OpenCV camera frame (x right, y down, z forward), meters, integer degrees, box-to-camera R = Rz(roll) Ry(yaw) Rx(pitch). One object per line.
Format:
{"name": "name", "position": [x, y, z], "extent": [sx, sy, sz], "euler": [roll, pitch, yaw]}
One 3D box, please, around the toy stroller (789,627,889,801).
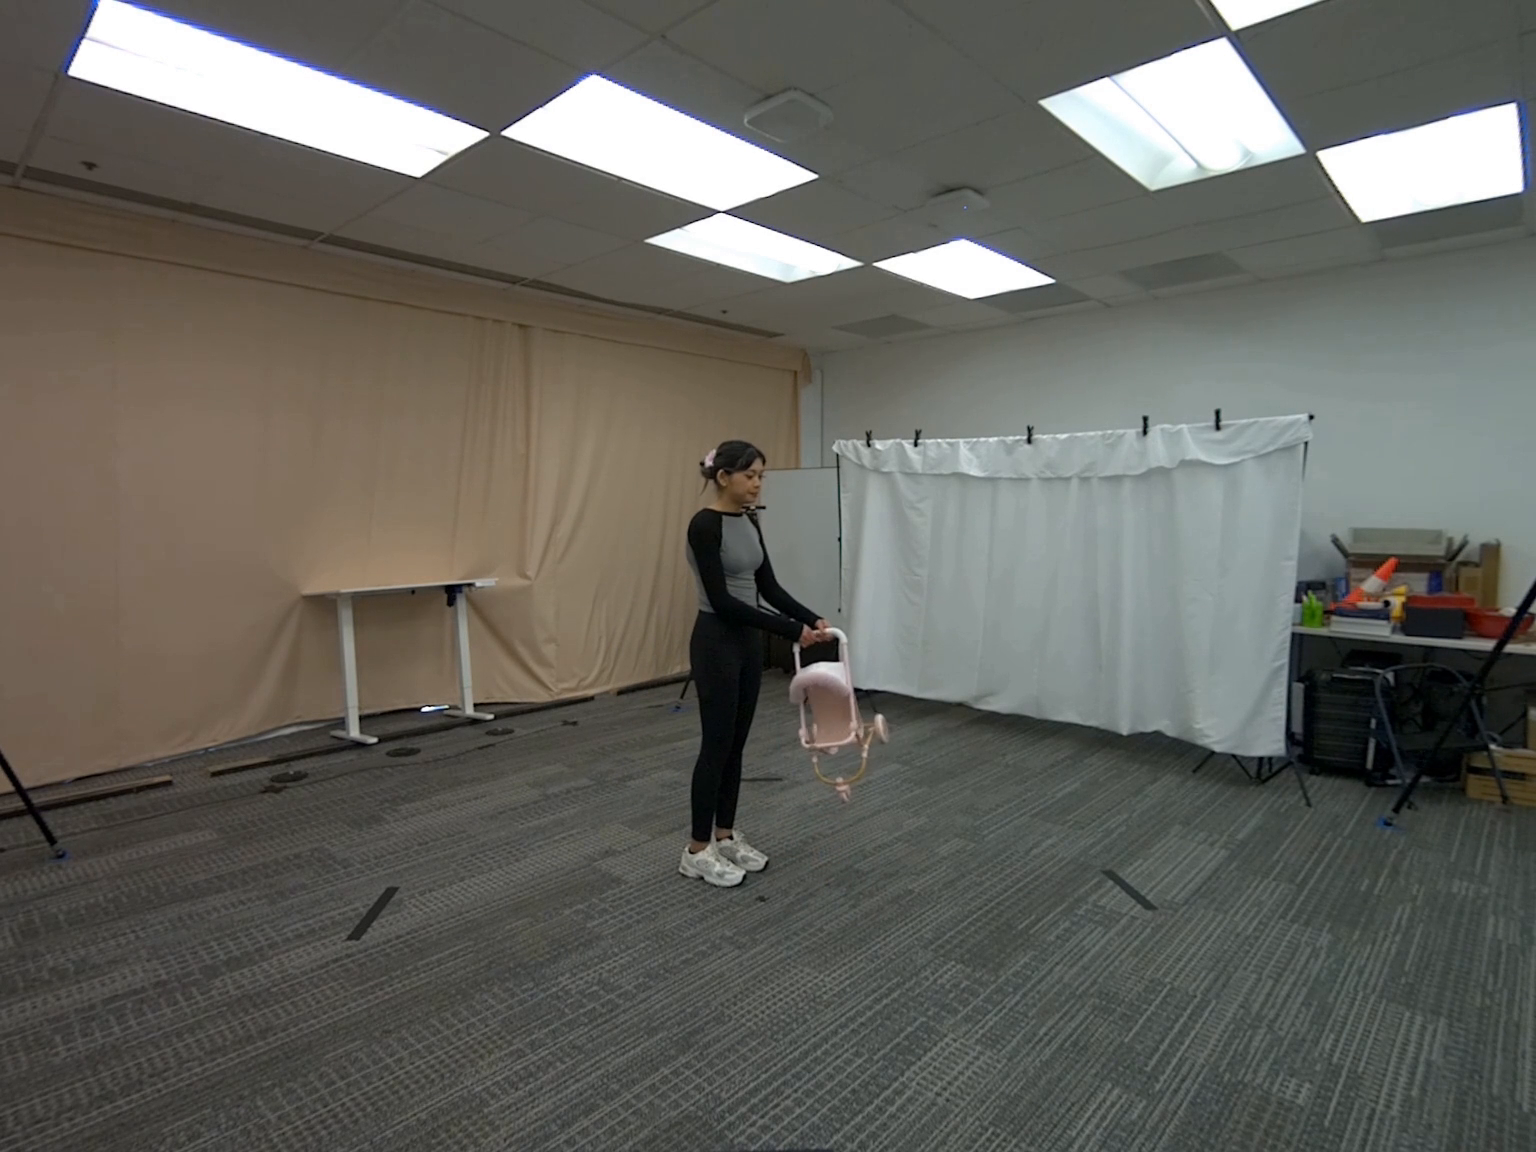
{"name": "toy stroller", "position": [0.230, 0.514, 3.015], "extent": [0.288, 0.525, 0.340], "euler": [-9, 24, 27]}
